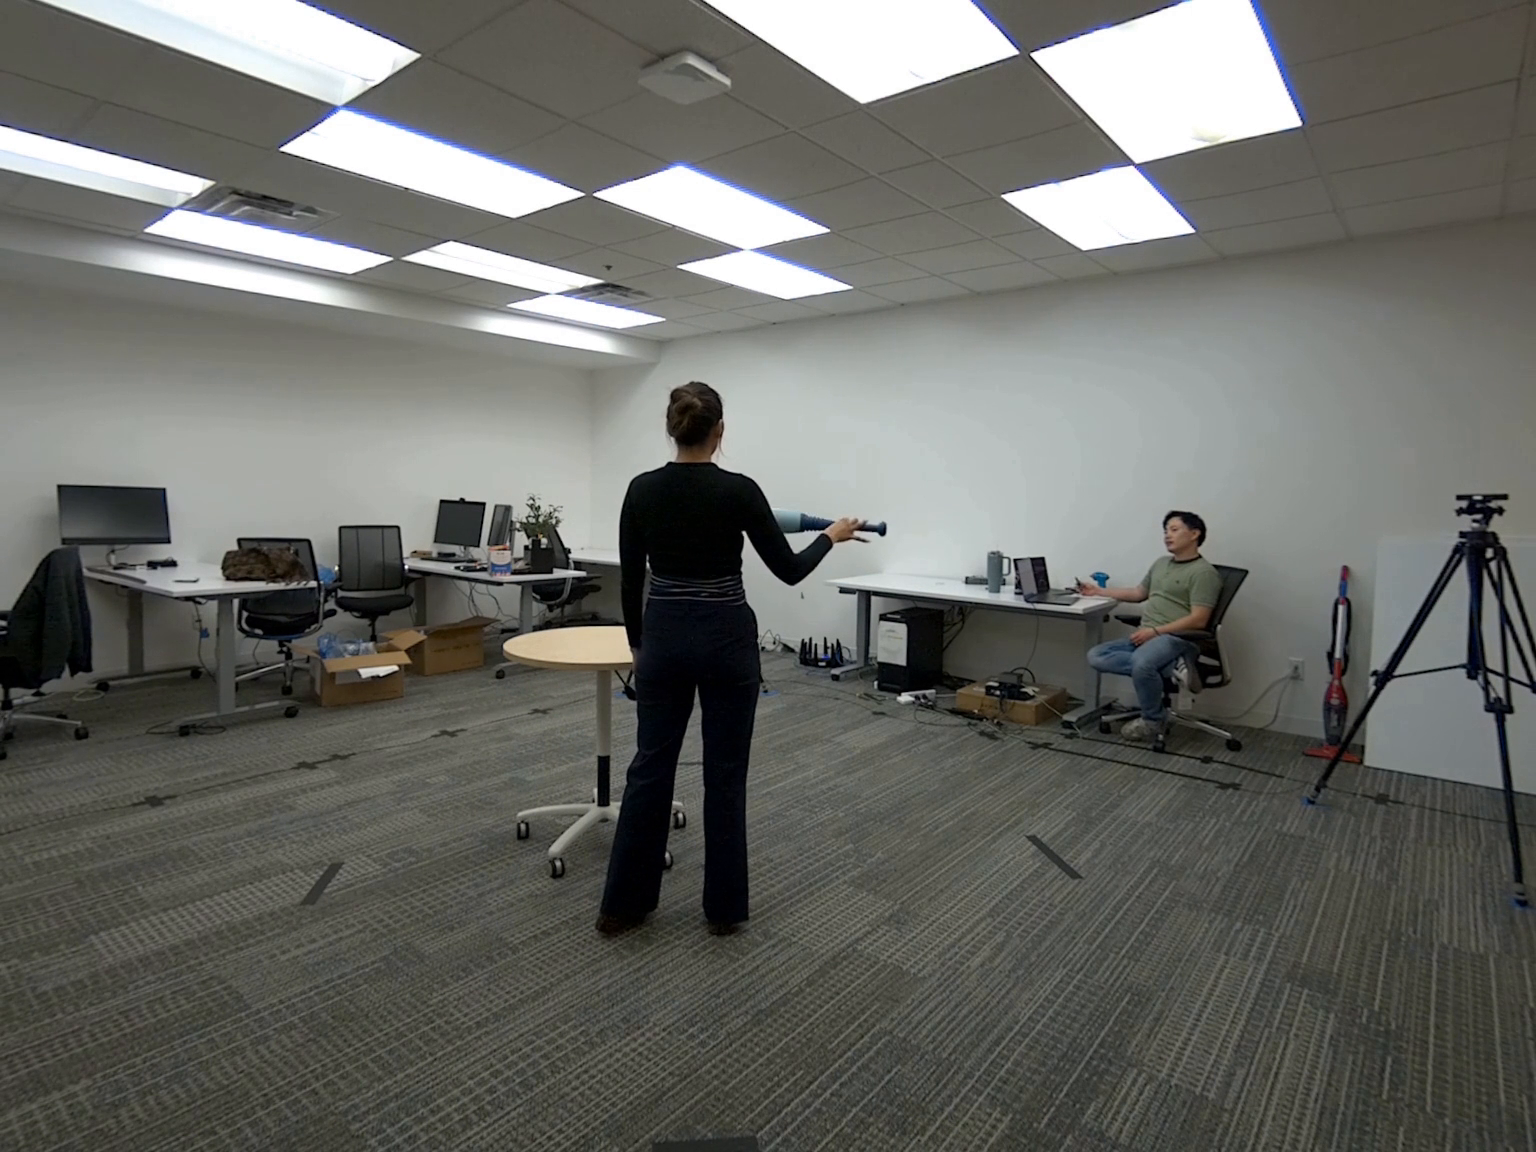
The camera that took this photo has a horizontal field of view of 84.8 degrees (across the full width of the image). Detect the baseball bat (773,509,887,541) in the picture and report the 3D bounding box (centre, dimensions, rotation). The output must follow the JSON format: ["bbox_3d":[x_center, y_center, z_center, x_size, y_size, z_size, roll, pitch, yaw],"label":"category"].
[{"bbox_3d":[0.132,-0.192,2.907,0.544,0.089,0.089,5,4,1],"label":"baseball bat"}]
